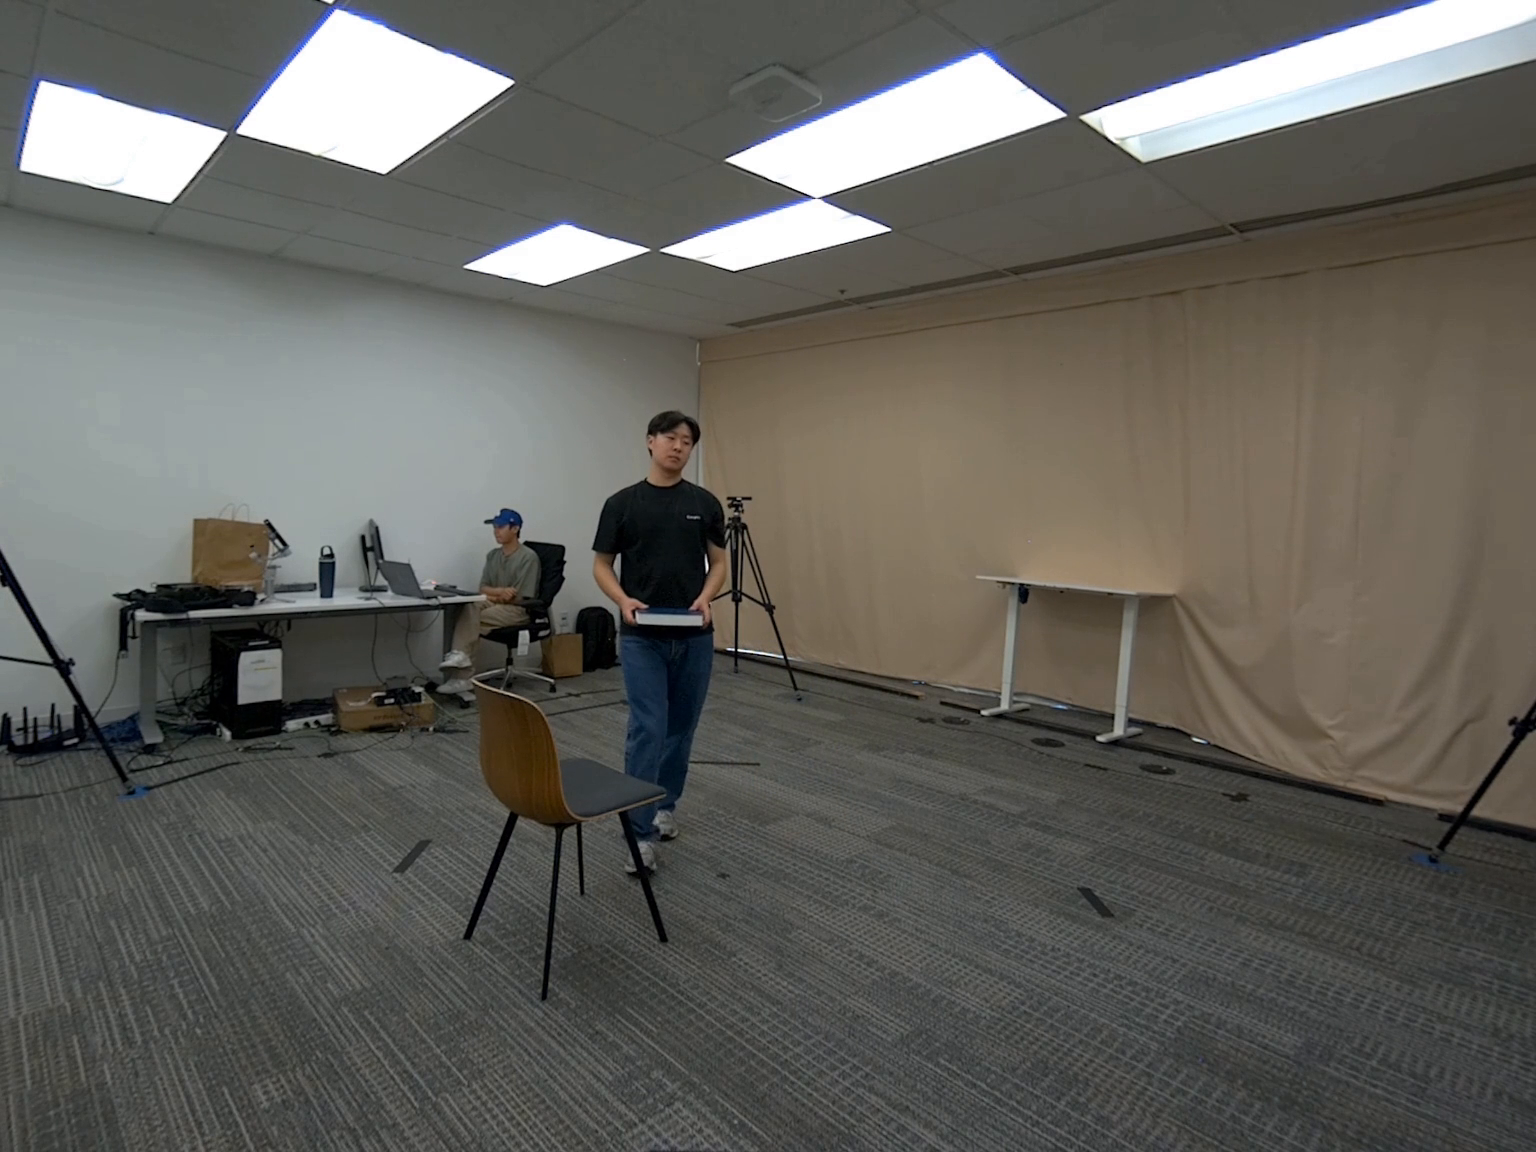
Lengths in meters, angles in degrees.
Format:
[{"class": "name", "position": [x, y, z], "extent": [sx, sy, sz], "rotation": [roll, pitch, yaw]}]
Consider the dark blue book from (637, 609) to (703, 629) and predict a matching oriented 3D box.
[{"class": "dark blue book", "position": [-0.362, 0.157, 3.129], "extent": [0.243, 0.045, 0.165], "rotation": [0, 6, -11]}]
